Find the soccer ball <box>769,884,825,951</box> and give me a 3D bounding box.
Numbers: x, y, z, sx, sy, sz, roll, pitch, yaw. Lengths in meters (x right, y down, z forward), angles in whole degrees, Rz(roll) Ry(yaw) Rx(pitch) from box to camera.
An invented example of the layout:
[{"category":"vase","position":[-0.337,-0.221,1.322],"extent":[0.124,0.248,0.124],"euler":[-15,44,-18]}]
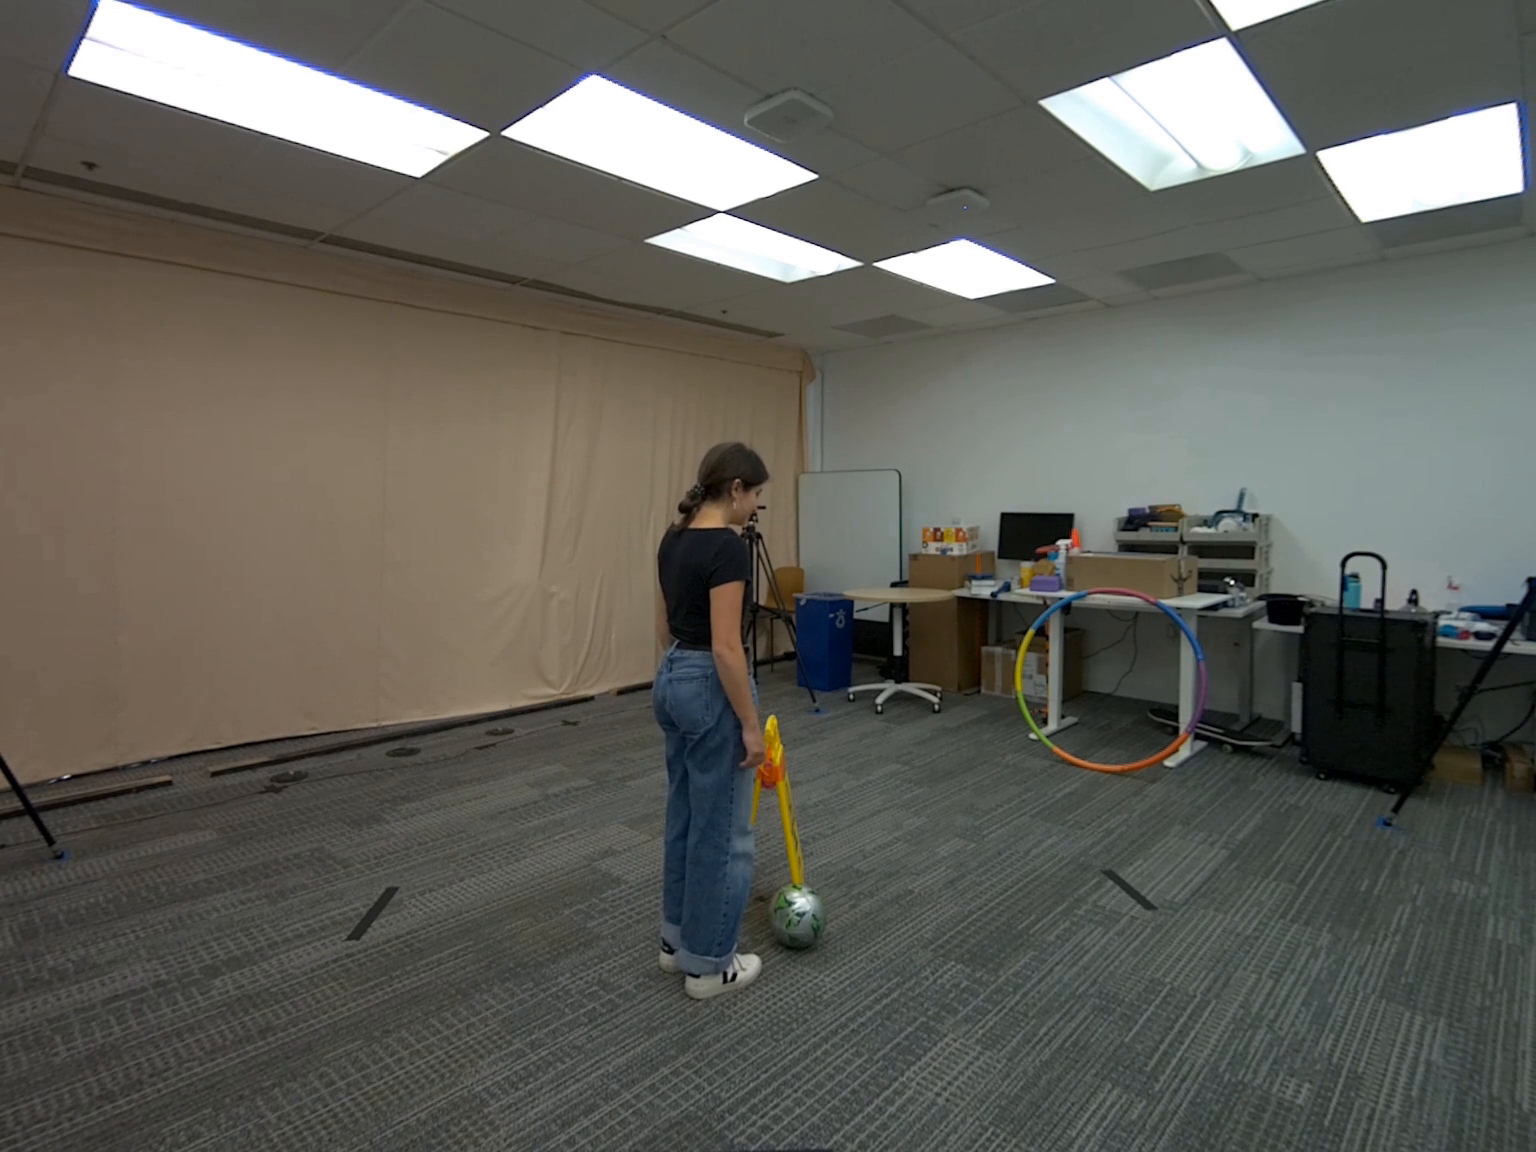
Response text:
[{"category":"soccer ball","position":[0.104,1.081,2.662],"extent":[0.187,0.187,0.188],"euler":[0,4,-2]}]
